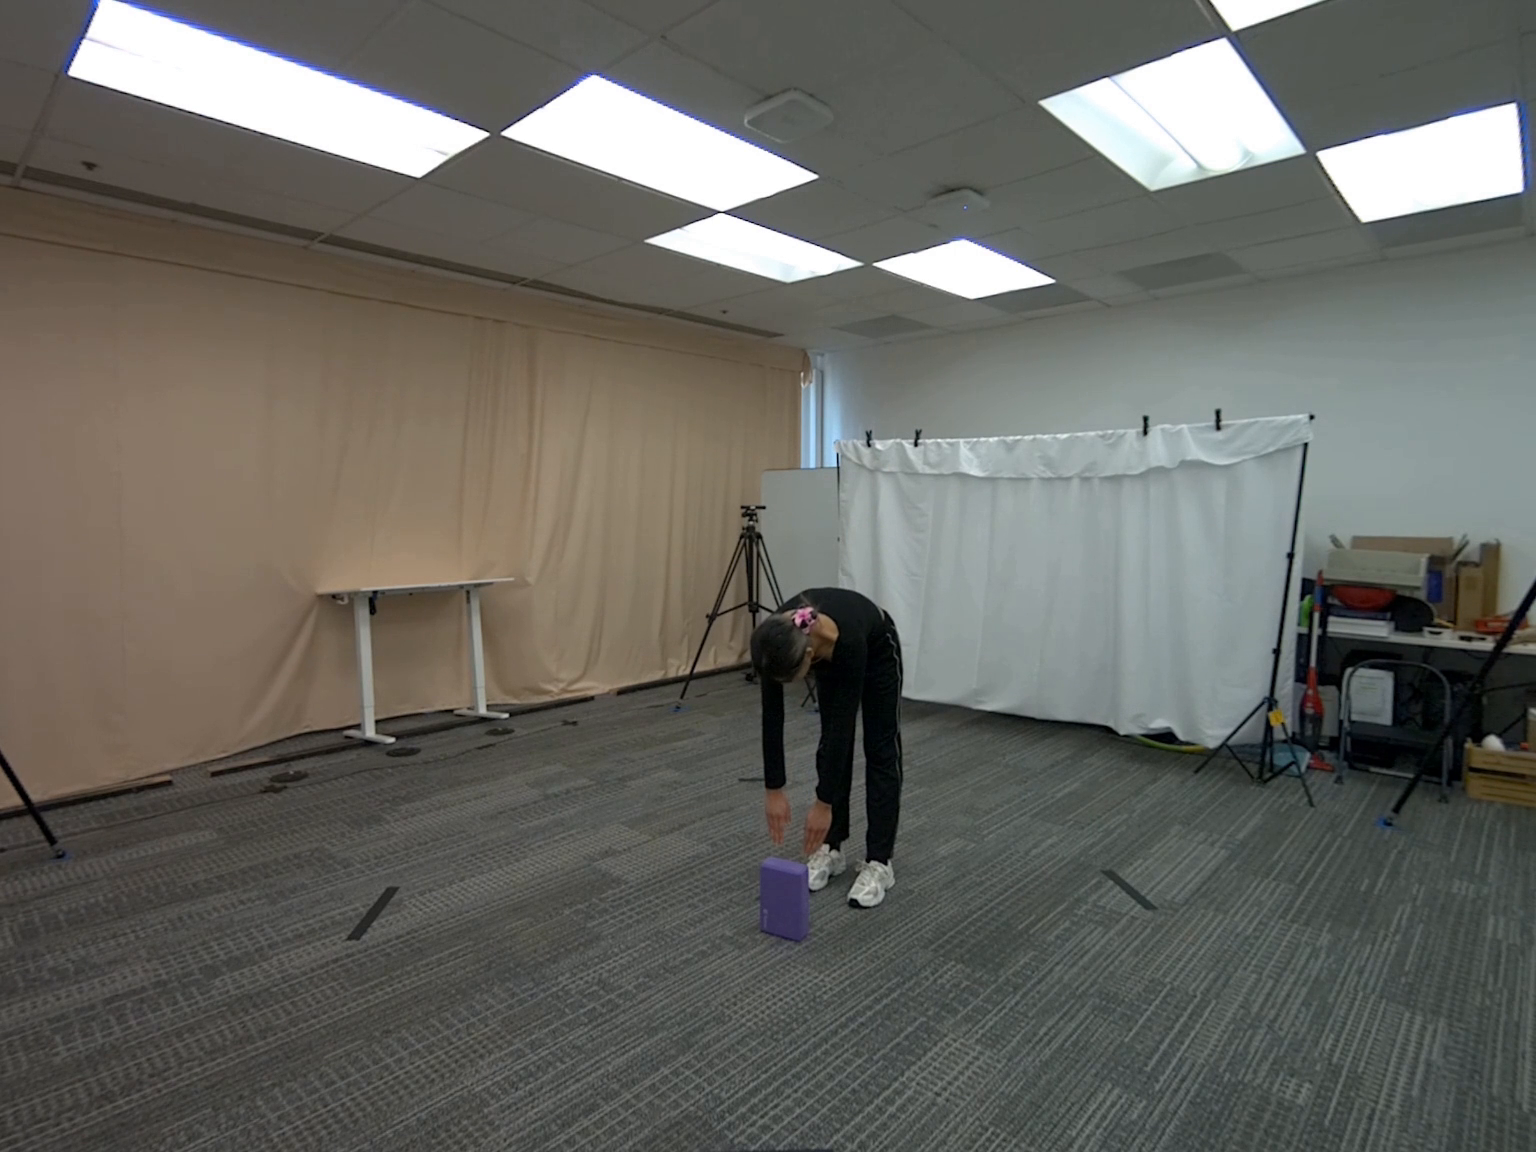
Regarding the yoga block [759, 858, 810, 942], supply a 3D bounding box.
[{"bbox_3d":[0.058,1.047,2.738,0.153,0.229,0.074,3,3,28],"label":"yoga block"}]
